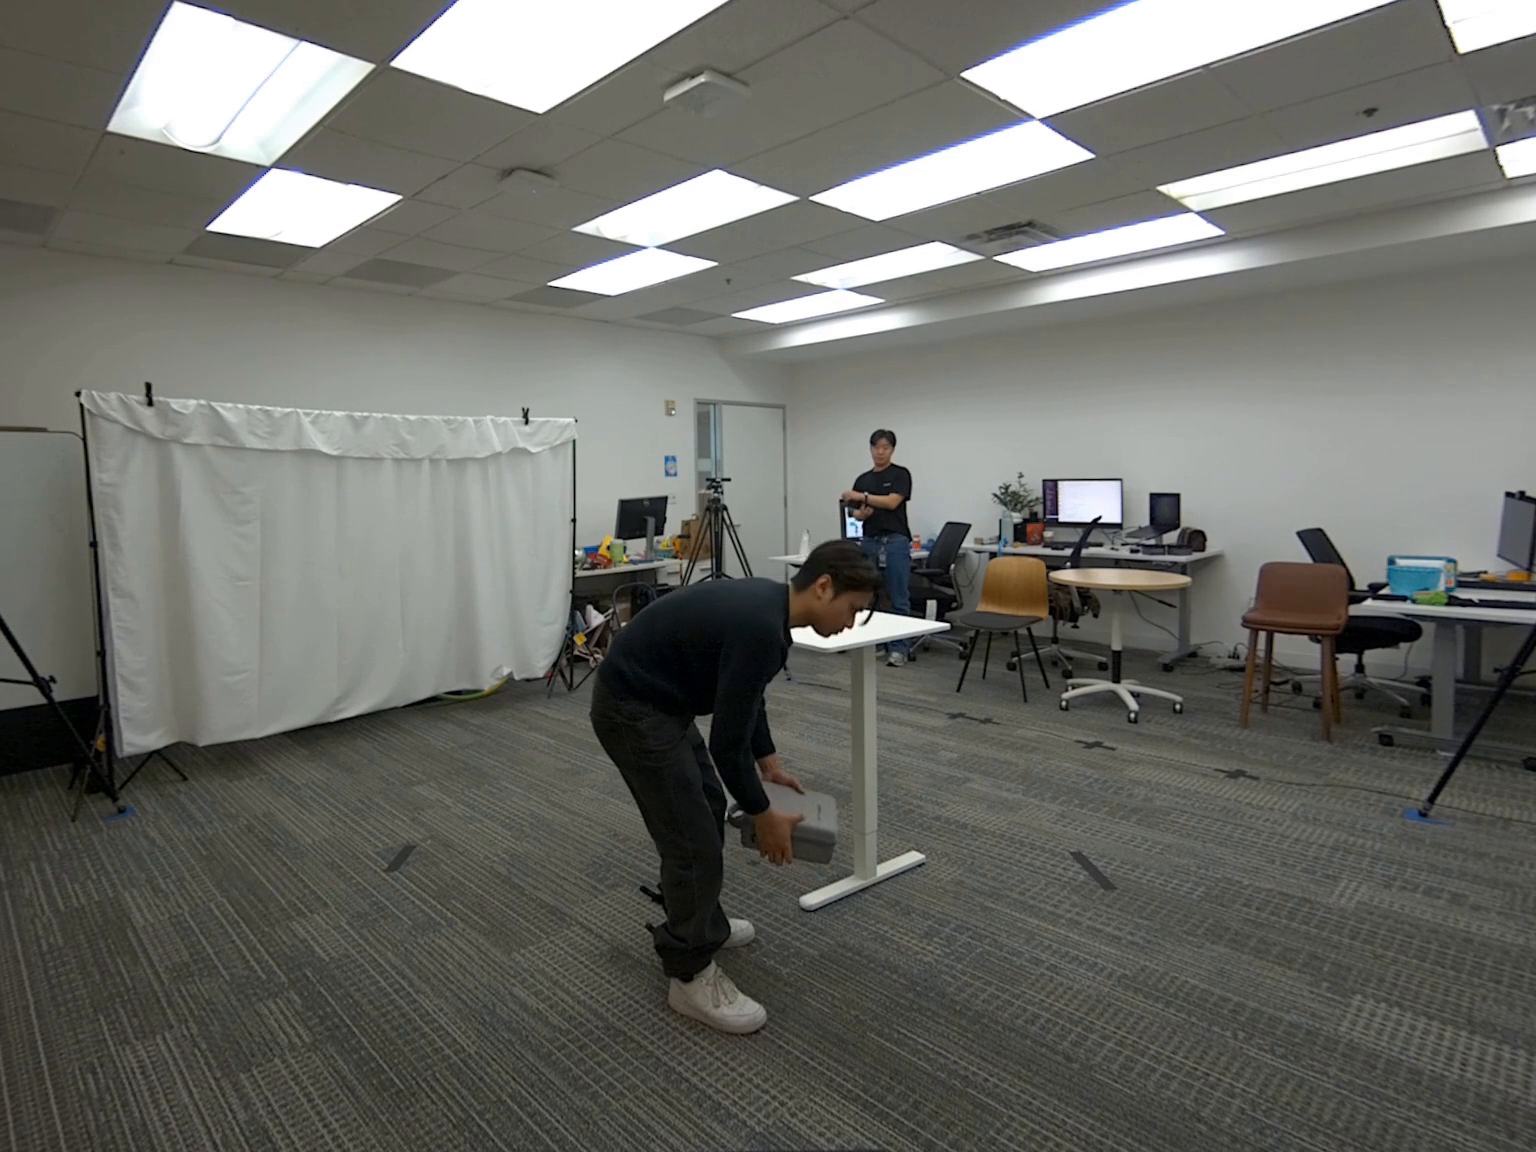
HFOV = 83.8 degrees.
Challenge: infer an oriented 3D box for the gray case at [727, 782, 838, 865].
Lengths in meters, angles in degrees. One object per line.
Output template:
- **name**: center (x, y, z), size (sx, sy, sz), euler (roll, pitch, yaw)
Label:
- **gray case**: center (0.059, 0.668, 2.341), size (0.262, 0.104, 0.257), euler (9, 8, 4)
